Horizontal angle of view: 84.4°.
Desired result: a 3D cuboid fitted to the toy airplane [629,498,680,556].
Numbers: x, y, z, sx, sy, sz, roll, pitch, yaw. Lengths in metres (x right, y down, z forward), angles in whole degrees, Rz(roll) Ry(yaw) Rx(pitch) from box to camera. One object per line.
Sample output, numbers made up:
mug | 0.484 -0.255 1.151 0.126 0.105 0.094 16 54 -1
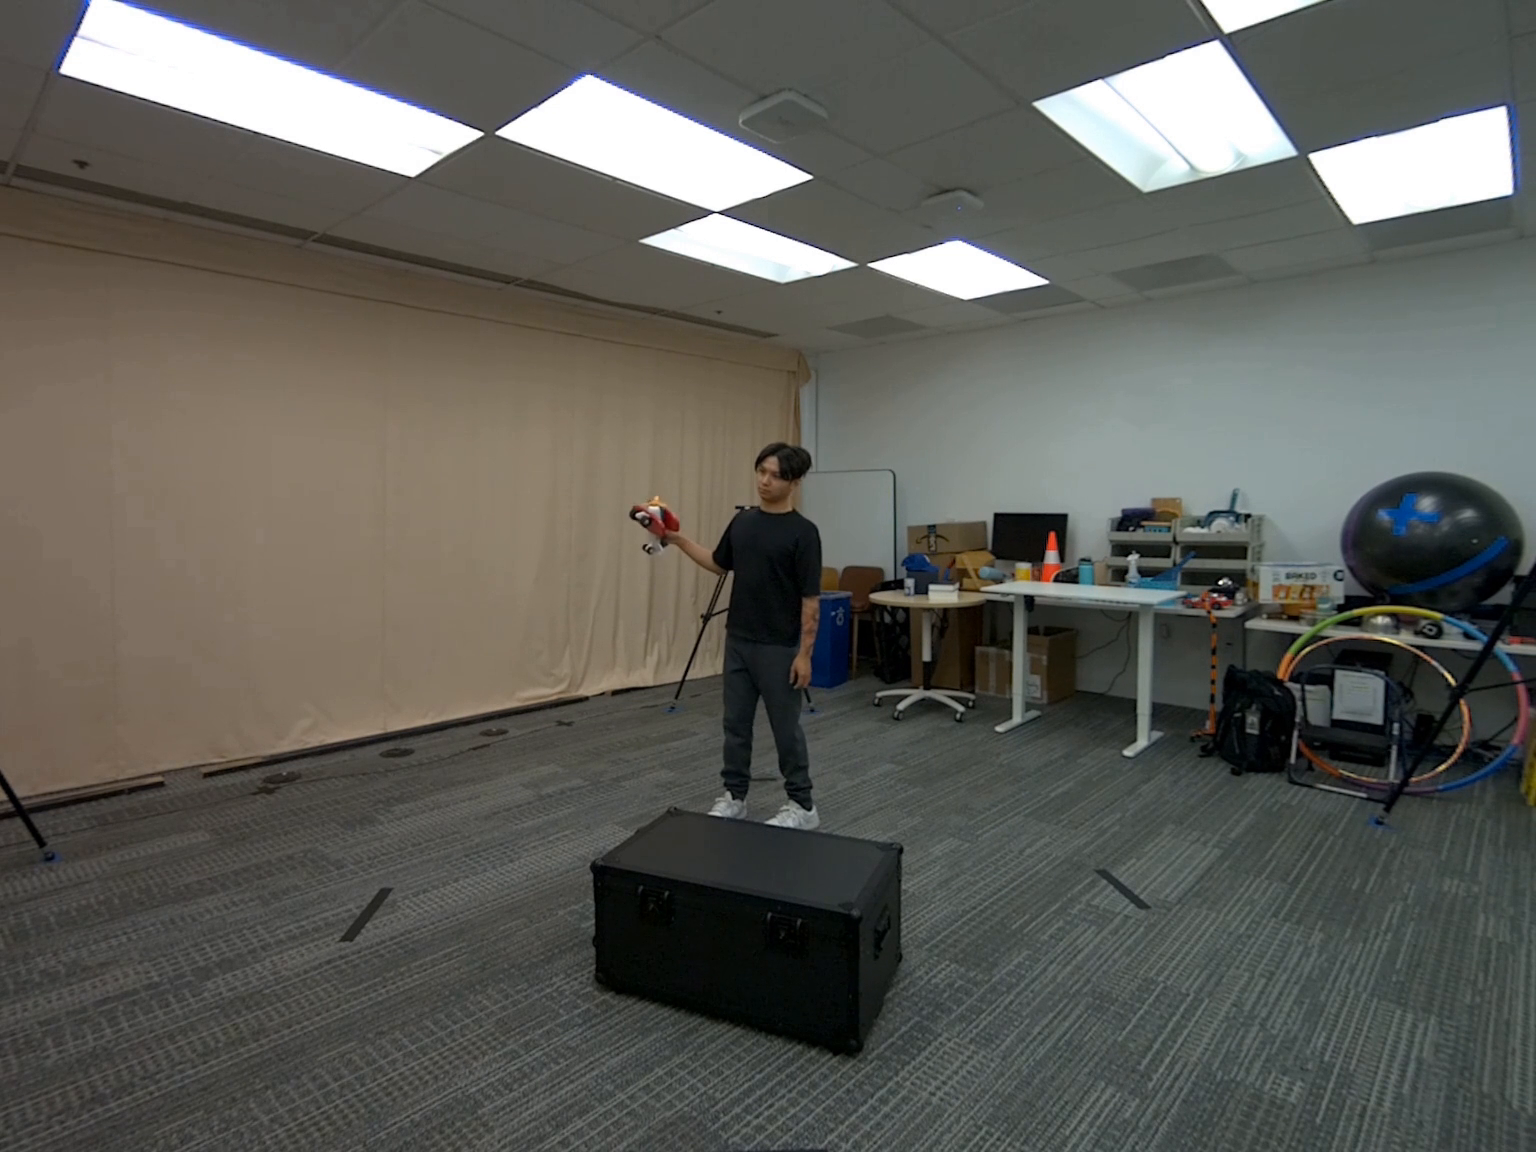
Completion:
toy airplane | -0.531 -0.226 3.873 0.154 0.256 0.257 -33 -19 -24
